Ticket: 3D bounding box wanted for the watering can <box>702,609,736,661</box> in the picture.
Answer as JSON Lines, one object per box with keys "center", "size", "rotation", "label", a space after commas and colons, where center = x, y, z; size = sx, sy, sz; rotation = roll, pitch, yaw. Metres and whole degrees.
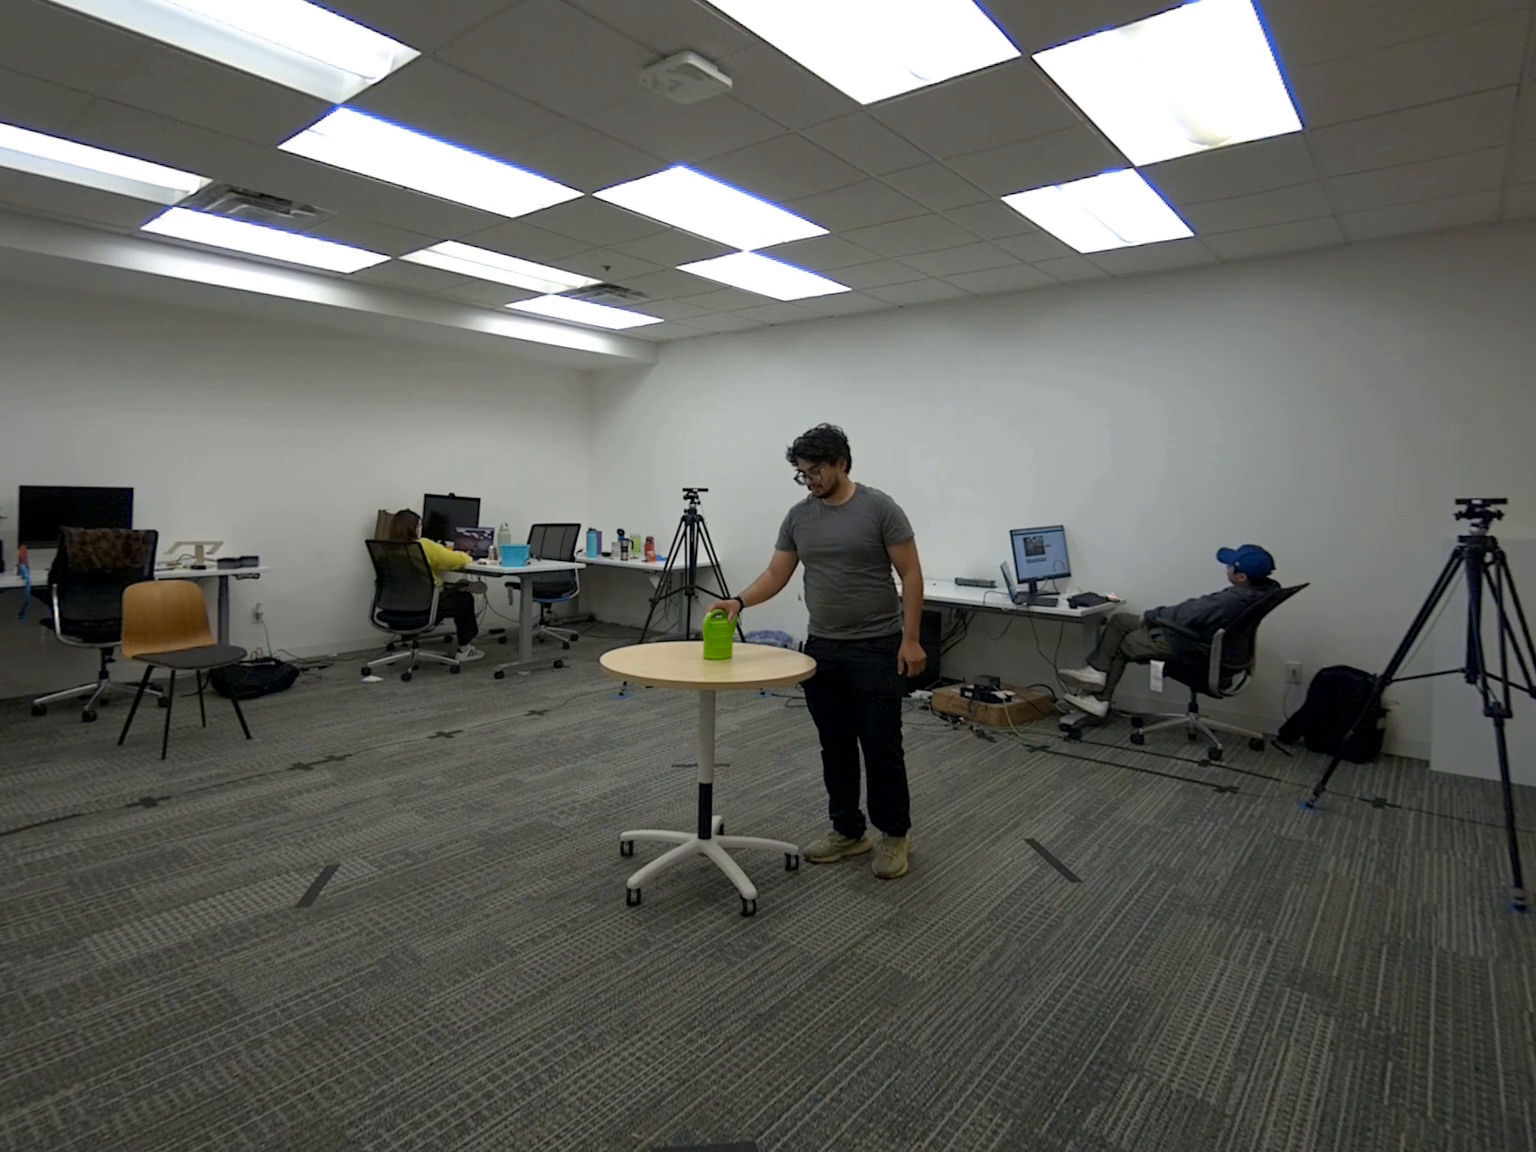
{"center": [-0.161, 0.203, 3.105], "size": [0.101, 0.176, 0.270], "rotation": [3, 5, 43], "label": "watering can"}
